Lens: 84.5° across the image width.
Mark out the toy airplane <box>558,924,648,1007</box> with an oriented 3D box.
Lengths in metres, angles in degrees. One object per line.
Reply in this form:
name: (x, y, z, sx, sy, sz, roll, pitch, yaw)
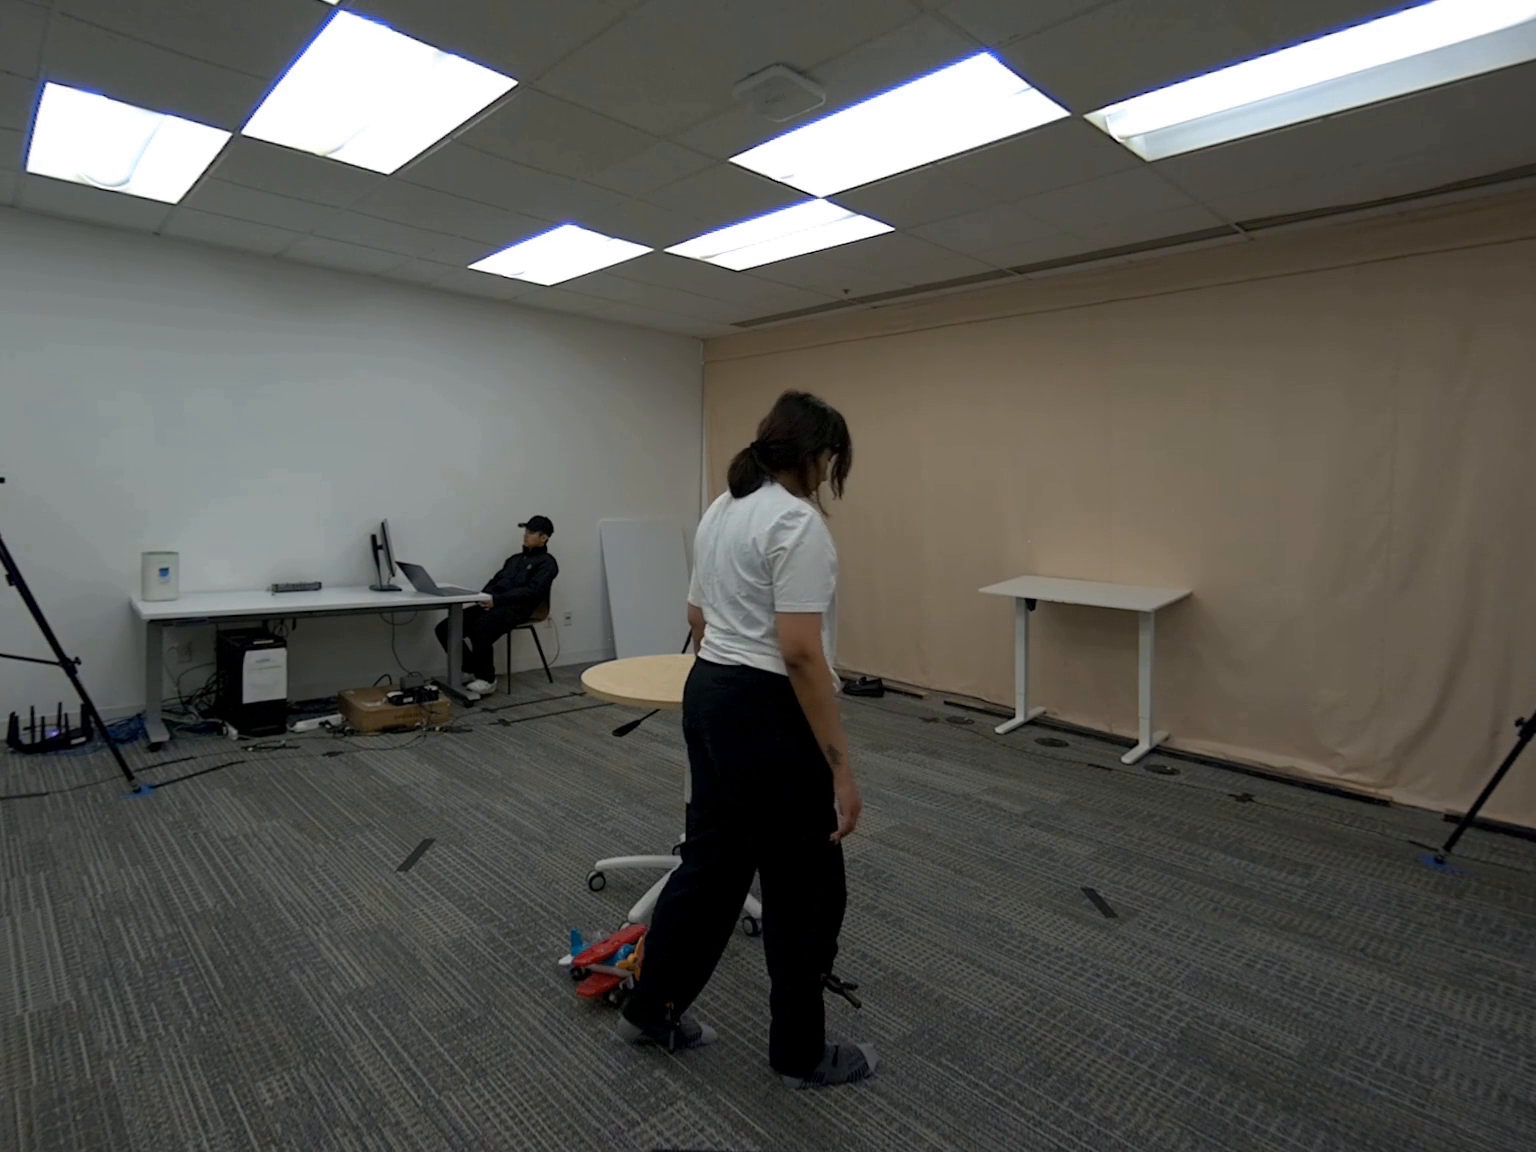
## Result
toy airplane: (-0.478, 1.091, 2.353, 0.261, 0.156, 0.250, 2, 5, 8)
